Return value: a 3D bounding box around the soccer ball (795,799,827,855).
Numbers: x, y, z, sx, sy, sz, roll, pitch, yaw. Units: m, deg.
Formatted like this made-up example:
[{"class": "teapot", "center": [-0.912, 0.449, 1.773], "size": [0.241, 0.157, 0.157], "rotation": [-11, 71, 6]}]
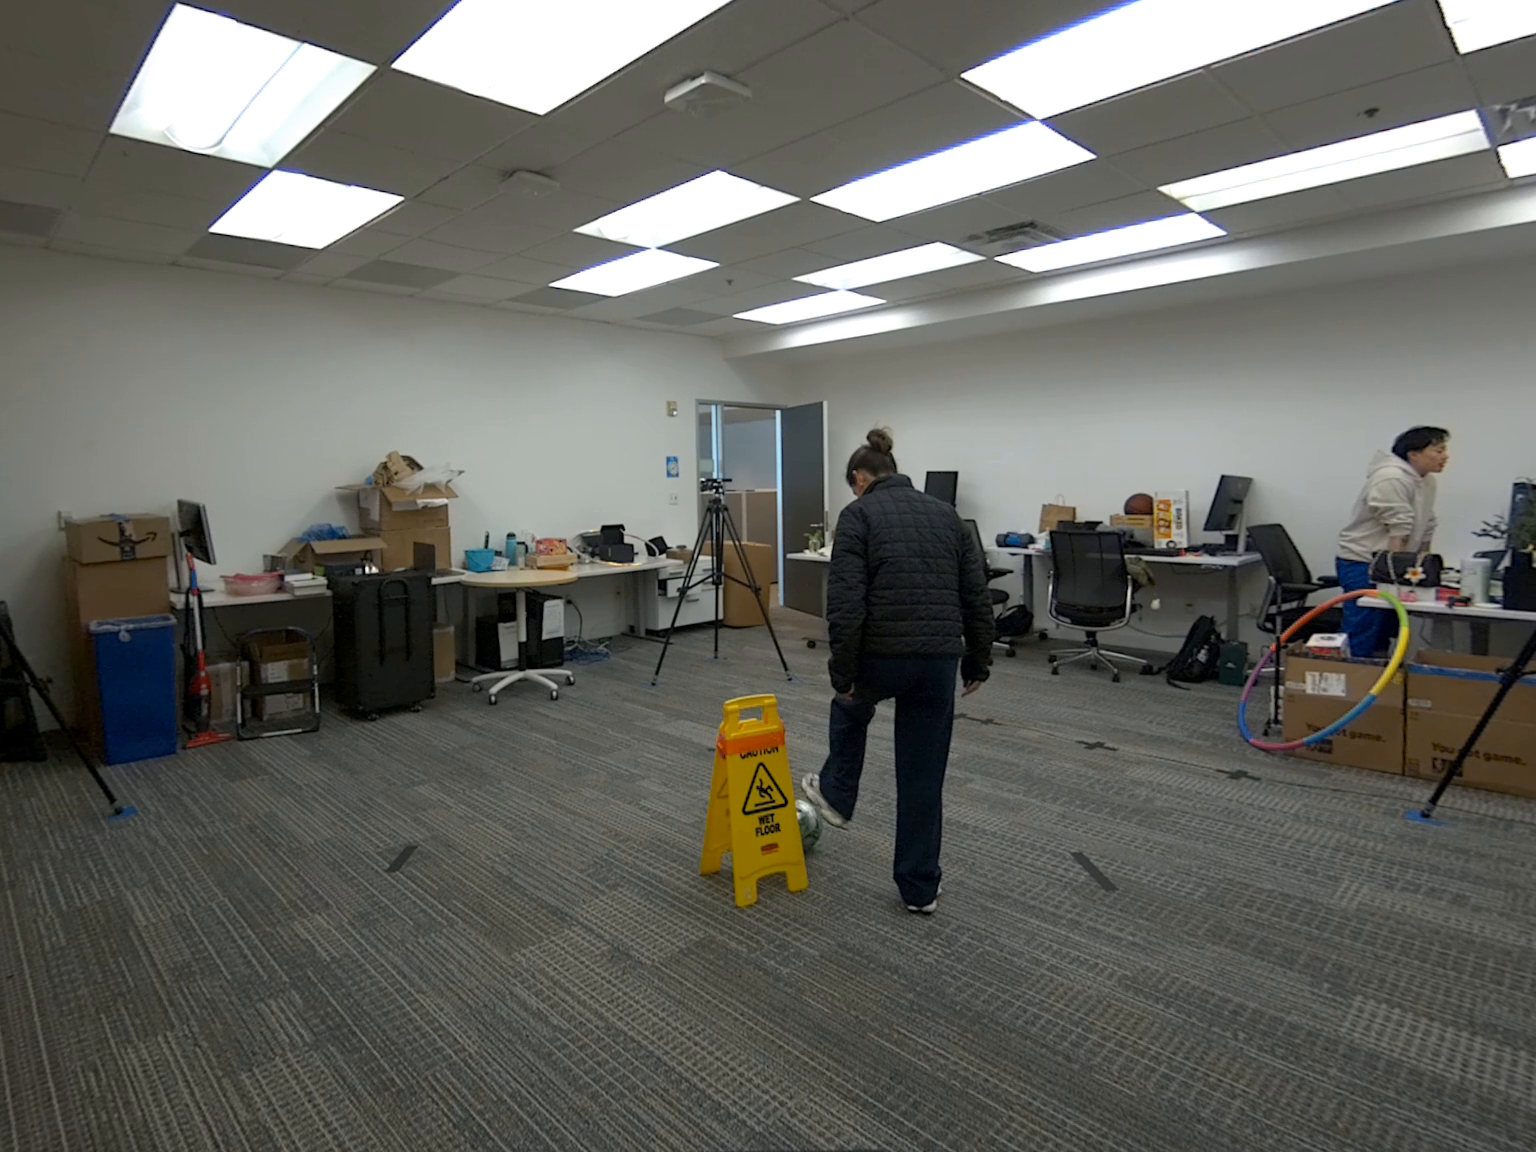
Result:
[{"class": "soccer ball", "center": [0.120, 0.934, 3.209], "size": [0.187, 0.187, 0.188], "rotation": [-1, 5, -2]}]
